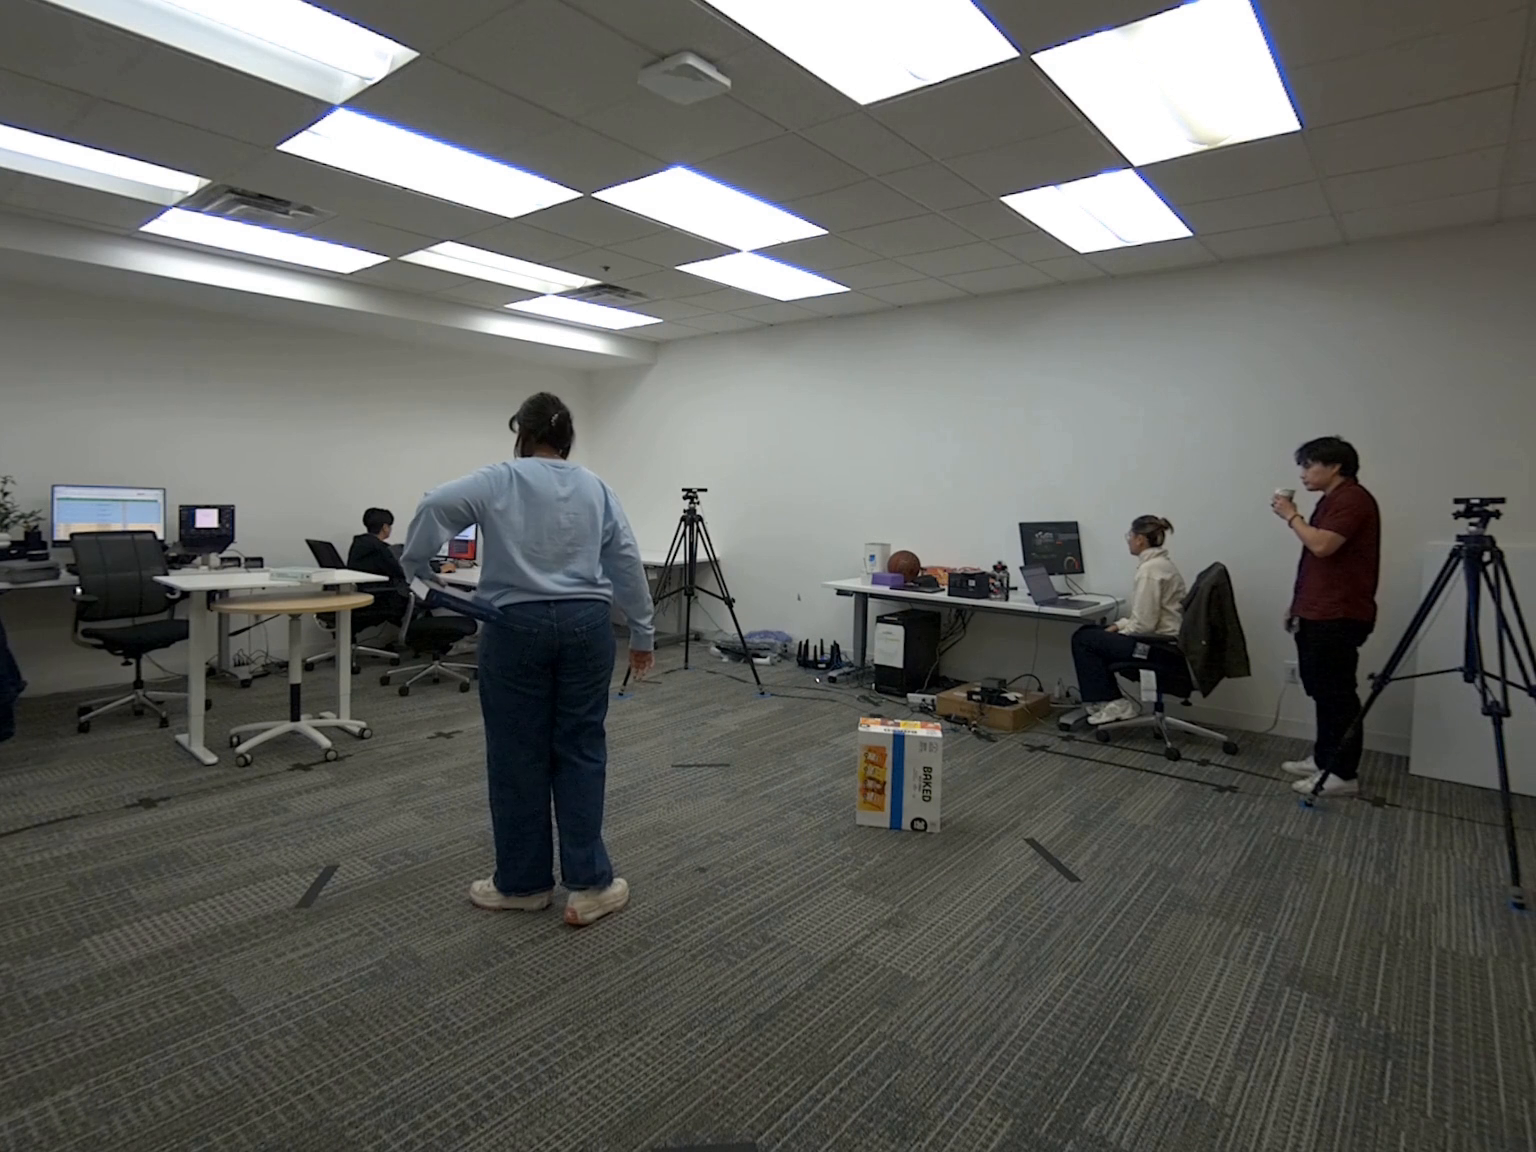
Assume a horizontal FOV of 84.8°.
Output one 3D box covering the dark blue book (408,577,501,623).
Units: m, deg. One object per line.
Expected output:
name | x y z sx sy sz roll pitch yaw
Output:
dark blue book | -0.961 0.073 2.503 0.235 0.045 0.170 27 -4 -40
